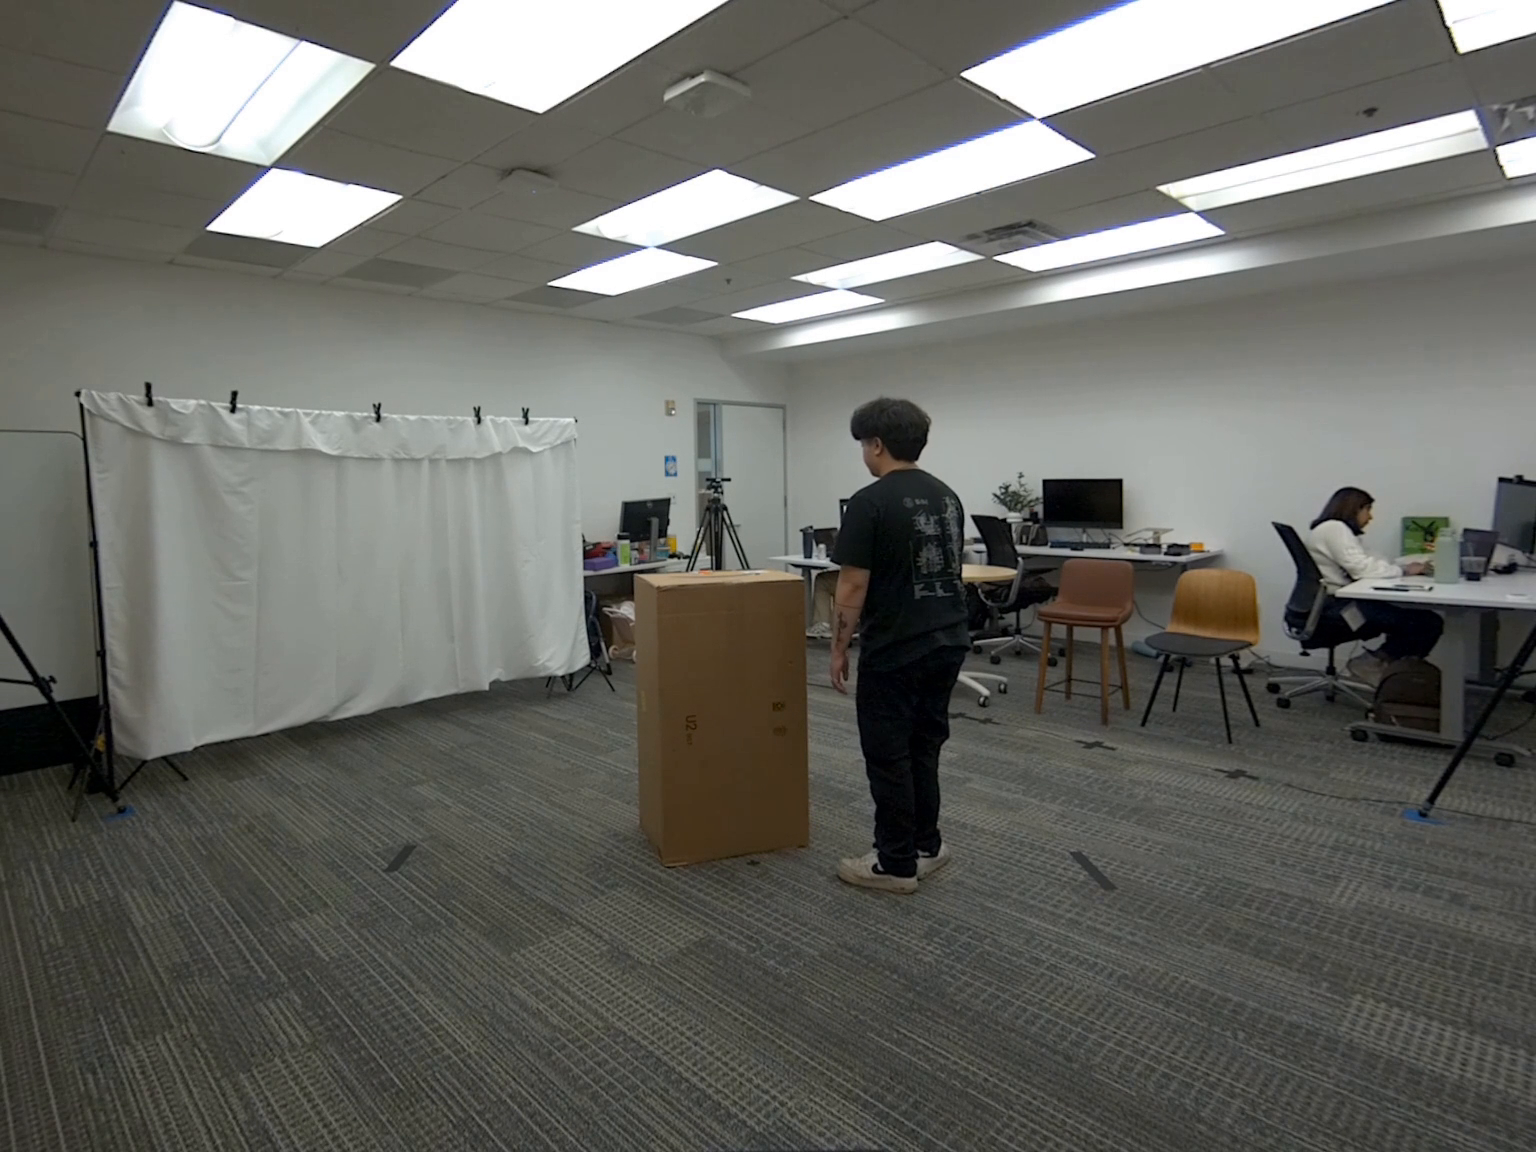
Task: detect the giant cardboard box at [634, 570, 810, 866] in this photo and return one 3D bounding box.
[{"bbox_3d":[-0.189,0.506,3.332,0.575,1.024,0.455,-2,3,-18],"label":"giant cardboard box"}]
